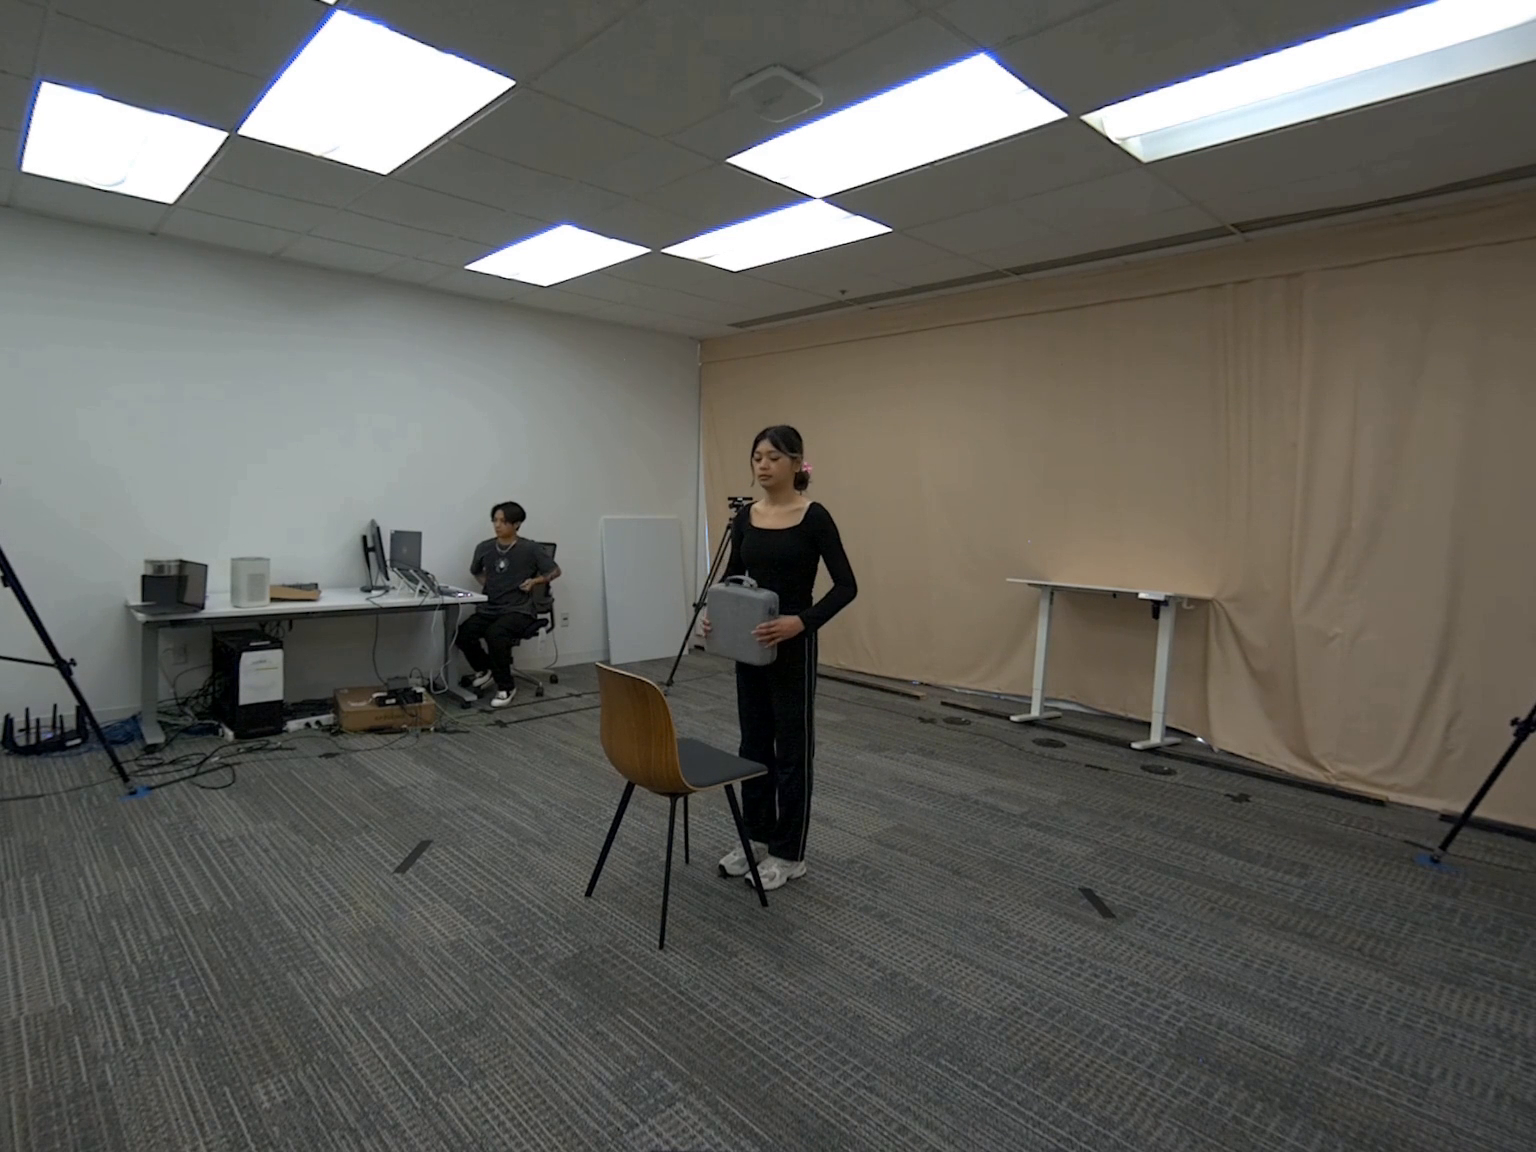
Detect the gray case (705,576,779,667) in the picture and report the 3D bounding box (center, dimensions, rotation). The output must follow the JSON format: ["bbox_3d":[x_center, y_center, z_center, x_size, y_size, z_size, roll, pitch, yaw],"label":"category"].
[{"bbox_3d":[-0.099,0.165,2.893,0.263,0.258,0.102,9,13,35],"label":"gray case"}]
